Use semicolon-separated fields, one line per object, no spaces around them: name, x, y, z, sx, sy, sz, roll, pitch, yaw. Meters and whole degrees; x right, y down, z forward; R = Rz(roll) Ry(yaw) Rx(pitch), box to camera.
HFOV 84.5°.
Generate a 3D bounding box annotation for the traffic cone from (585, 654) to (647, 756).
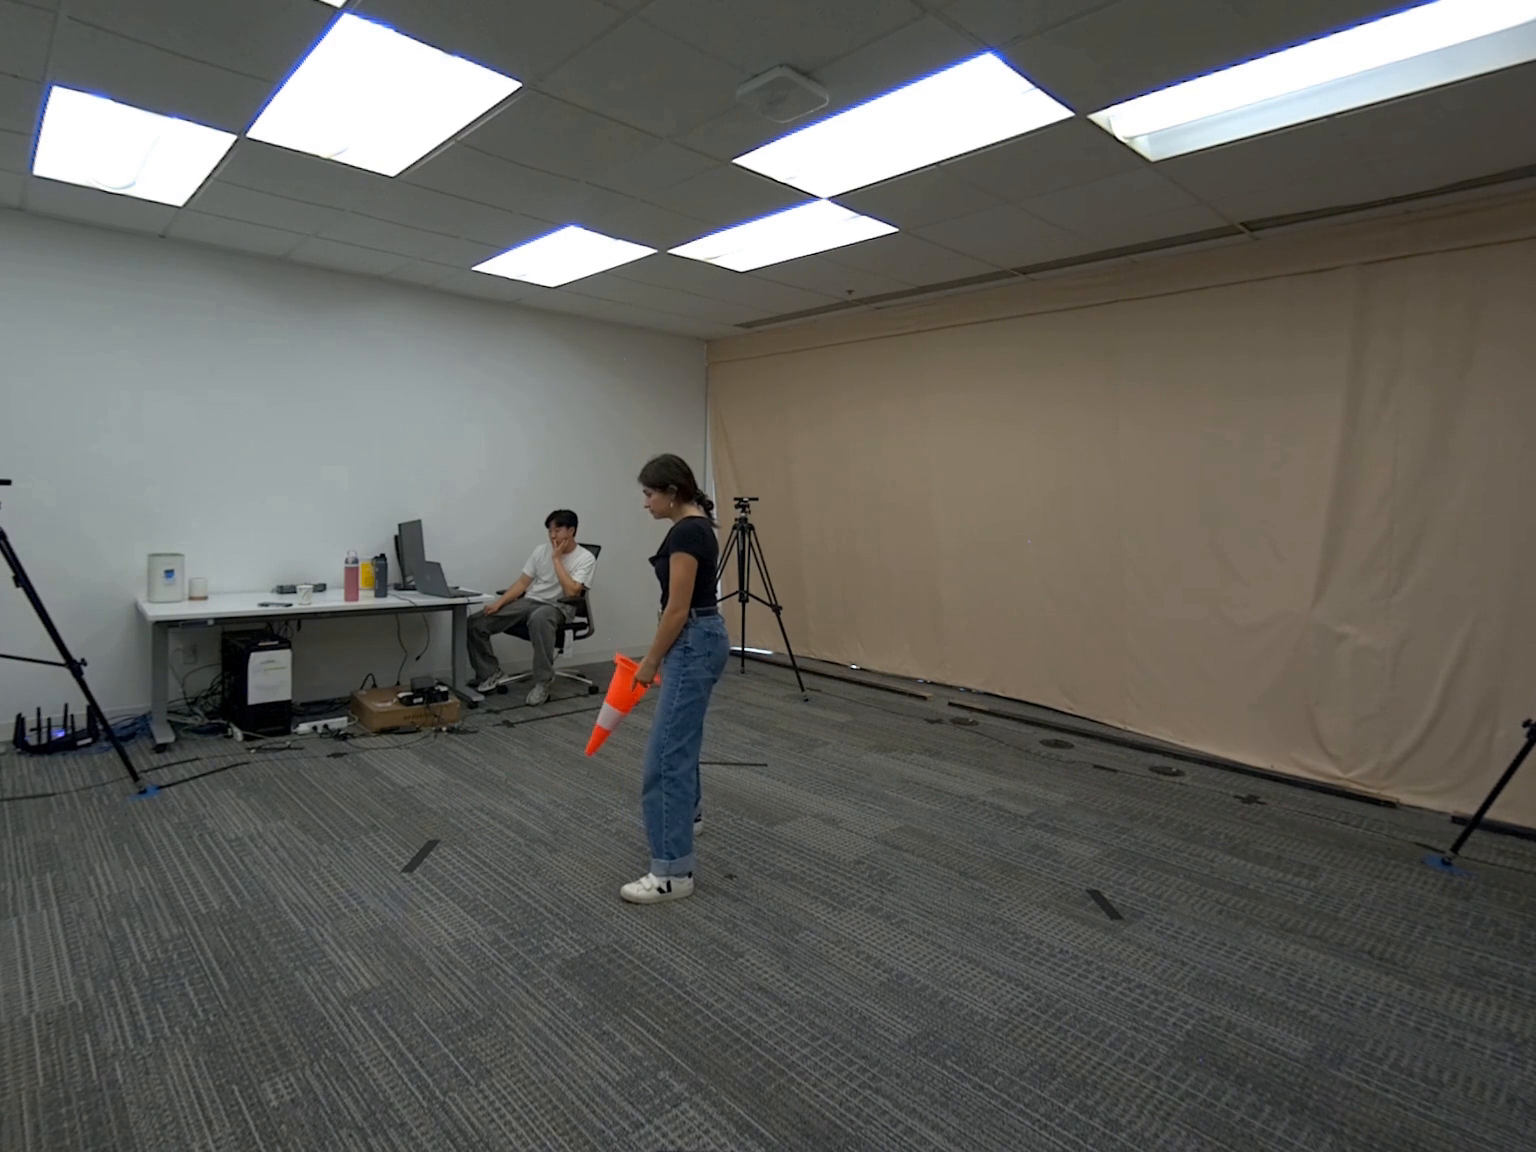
traffic cone;-0.604;0.521;3.219;0.206;0.384;0.202;30;-4;3
